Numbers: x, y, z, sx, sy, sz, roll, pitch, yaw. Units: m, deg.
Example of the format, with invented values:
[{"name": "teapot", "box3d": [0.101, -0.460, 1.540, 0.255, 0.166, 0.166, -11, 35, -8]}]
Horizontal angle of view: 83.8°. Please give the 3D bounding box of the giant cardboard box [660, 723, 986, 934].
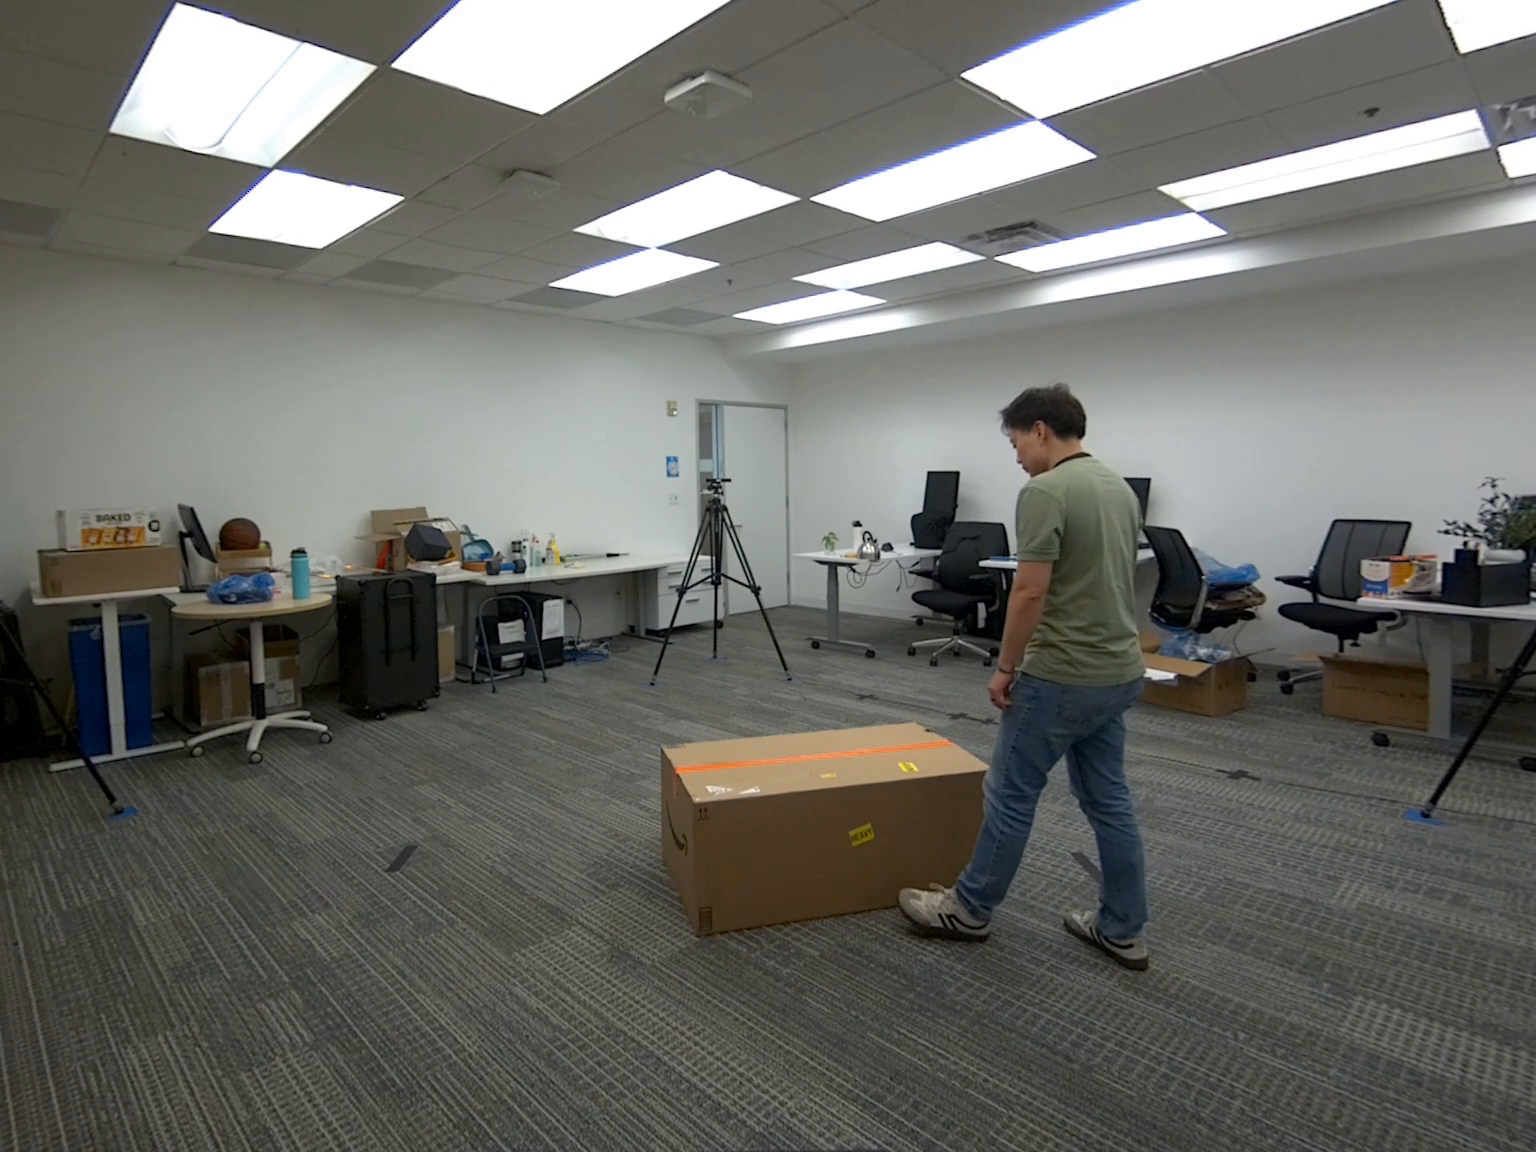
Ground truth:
[{"name": "giant cardboard box", "box3d": [0.179, 0.833, 2.994, 1.012, 0.424, 0.588, -2, 6, -15]}]
